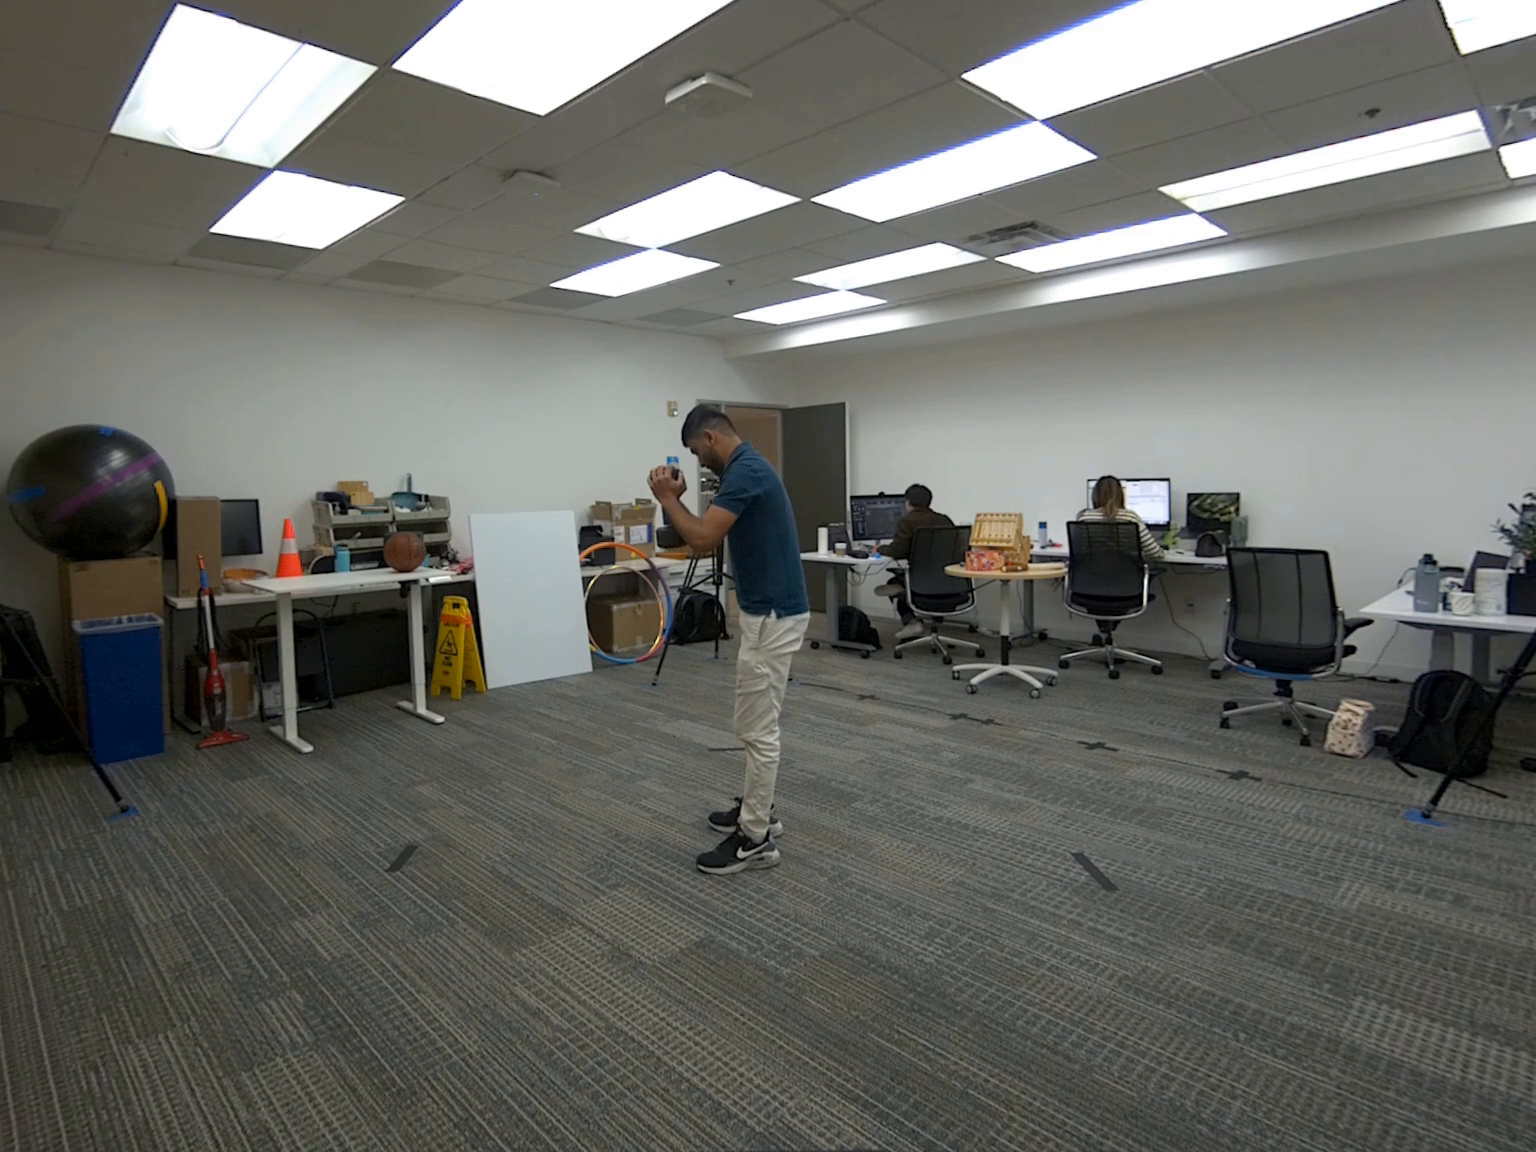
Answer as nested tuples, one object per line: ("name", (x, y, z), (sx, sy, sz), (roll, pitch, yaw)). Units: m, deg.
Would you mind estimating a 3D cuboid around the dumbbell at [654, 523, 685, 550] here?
("dumbbell", (-0.365, -0.246, 3.201), (0.122, 0.292, 0.110), (-6, 6, -7))
